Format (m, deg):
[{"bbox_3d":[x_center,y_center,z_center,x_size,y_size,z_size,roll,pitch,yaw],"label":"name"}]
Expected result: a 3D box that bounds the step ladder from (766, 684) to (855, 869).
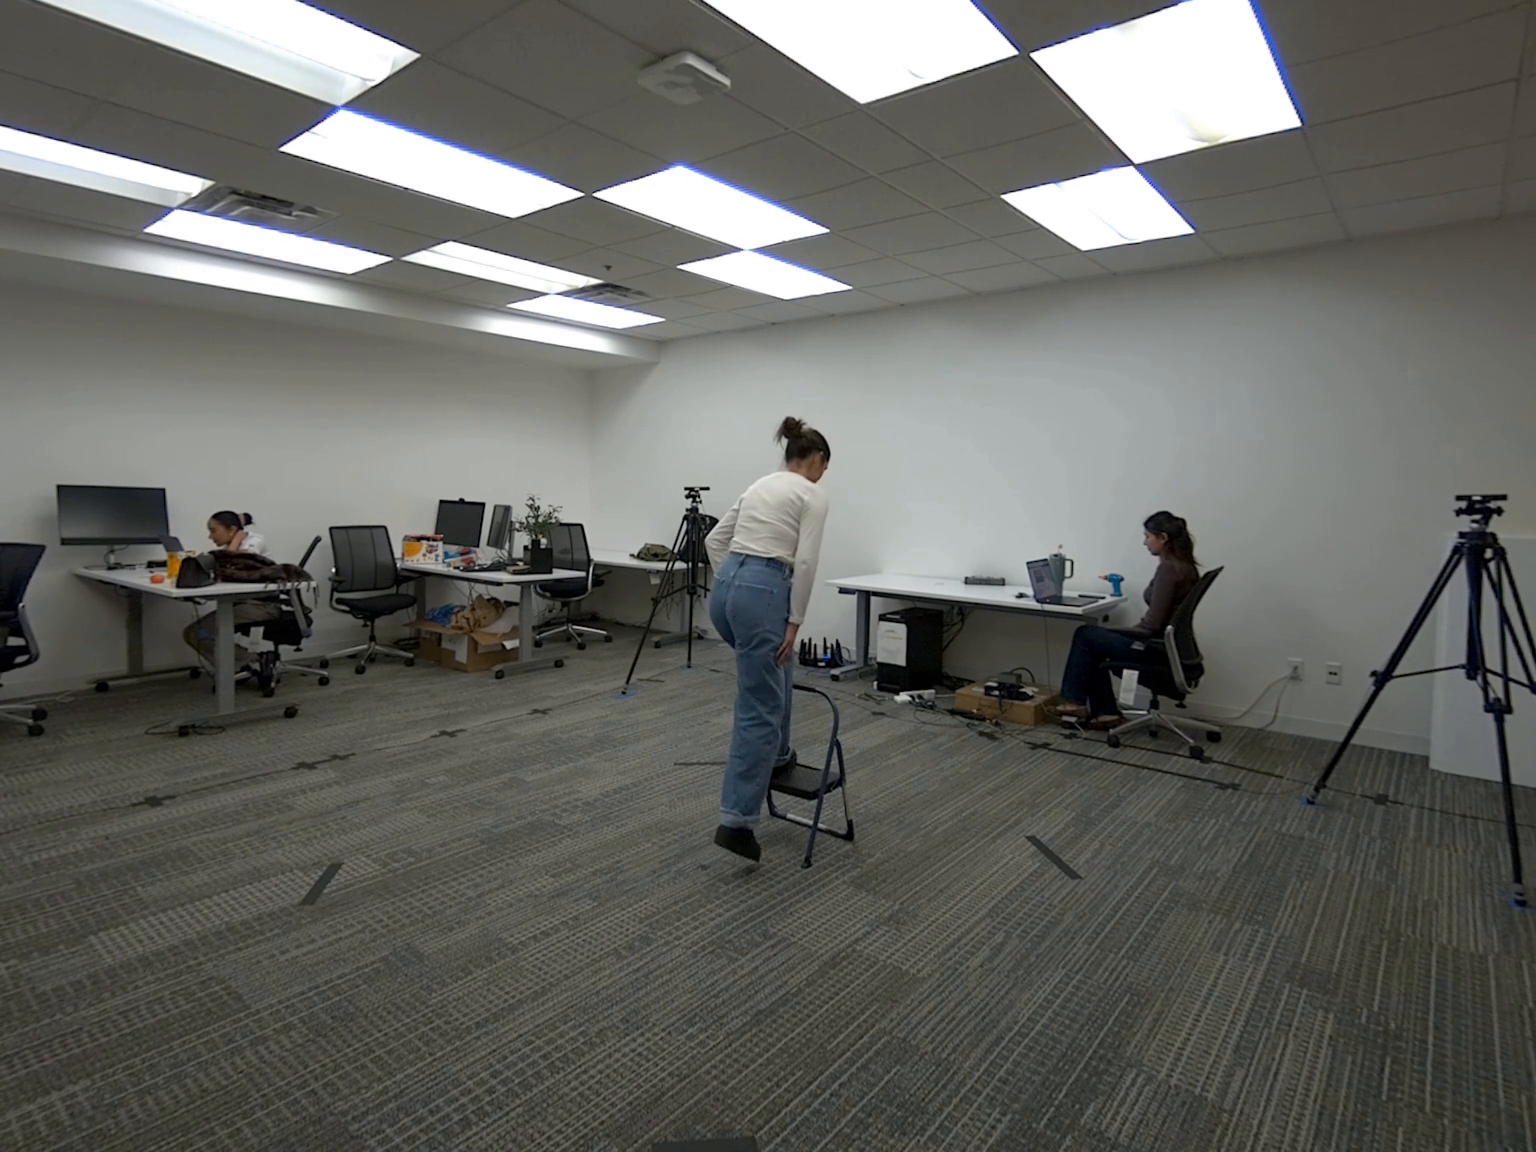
[{"bbox_3d":[0.080,0.742,3.373,0.445,0.604,0.339,4,5,38],"label":"step ladder"}]
